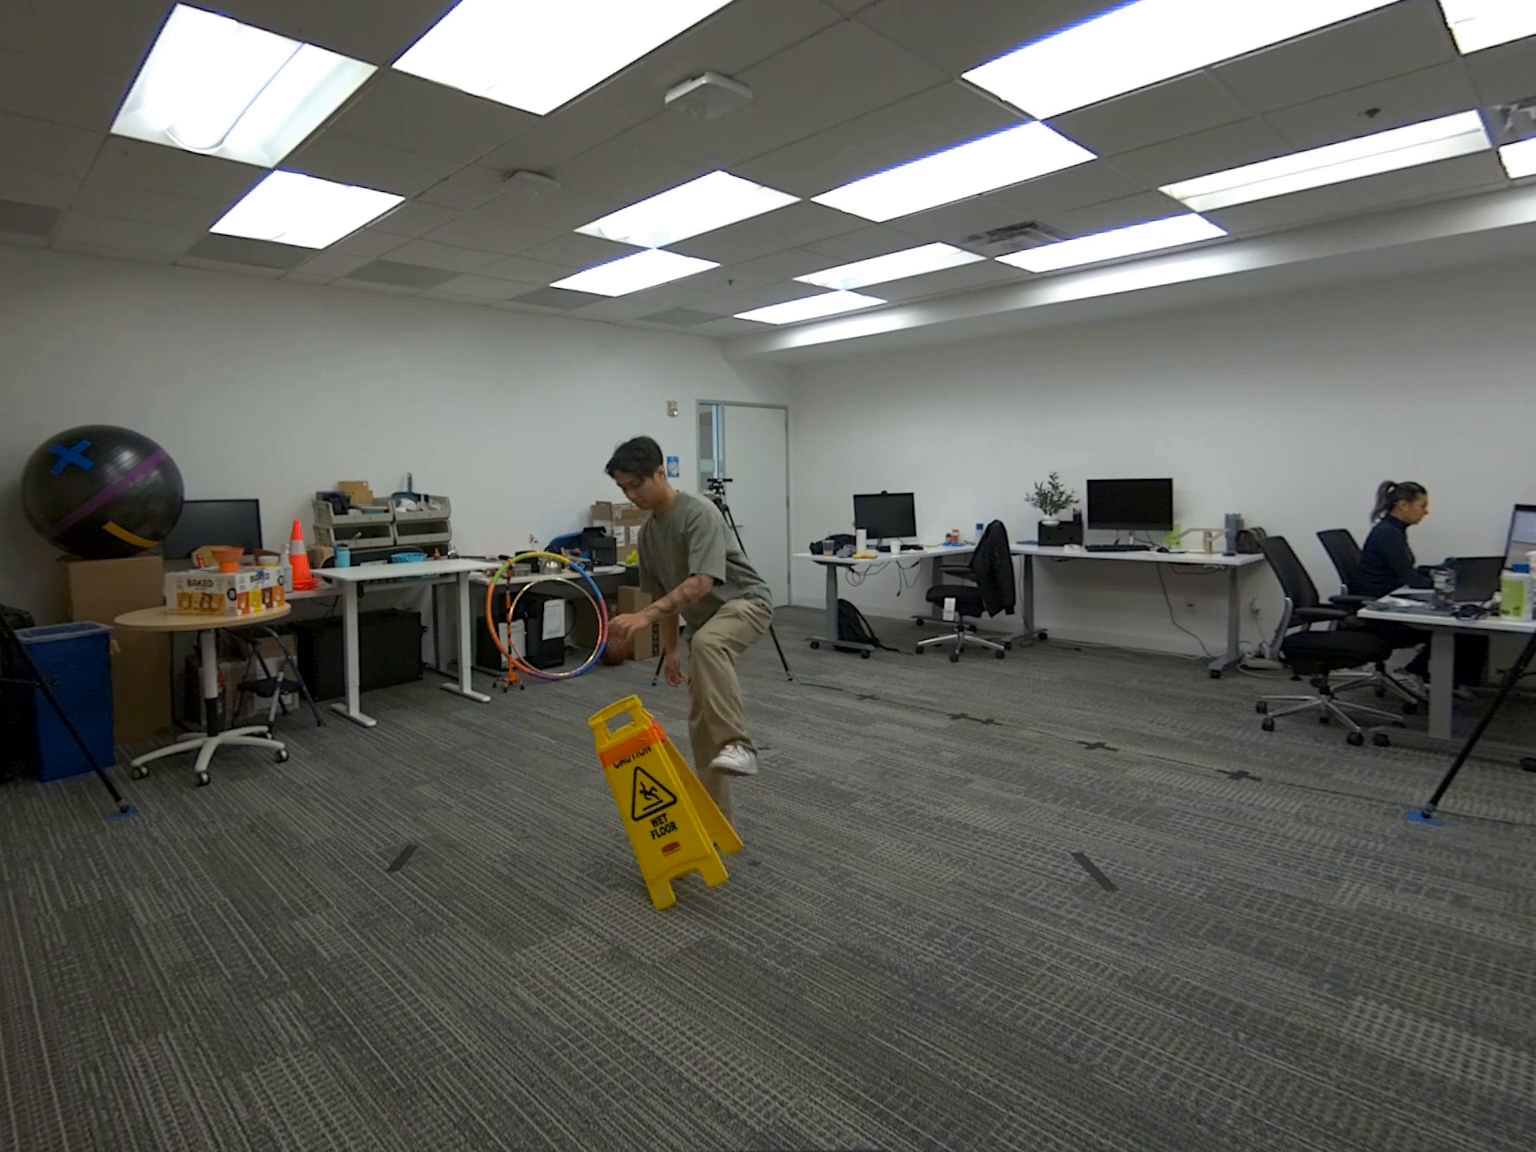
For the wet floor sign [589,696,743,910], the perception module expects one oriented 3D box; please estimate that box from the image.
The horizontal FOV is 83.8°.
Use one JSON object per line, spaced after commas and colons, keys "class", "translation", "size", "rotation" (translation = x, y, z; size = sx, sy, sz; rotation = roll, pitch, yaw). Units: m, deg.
{"class": "wet floor sign", "translation": [-0.382, 0.737, 2.875], "size": [0.284, 0.648, 0.287], "rotation": [-29, -2, 13]}
